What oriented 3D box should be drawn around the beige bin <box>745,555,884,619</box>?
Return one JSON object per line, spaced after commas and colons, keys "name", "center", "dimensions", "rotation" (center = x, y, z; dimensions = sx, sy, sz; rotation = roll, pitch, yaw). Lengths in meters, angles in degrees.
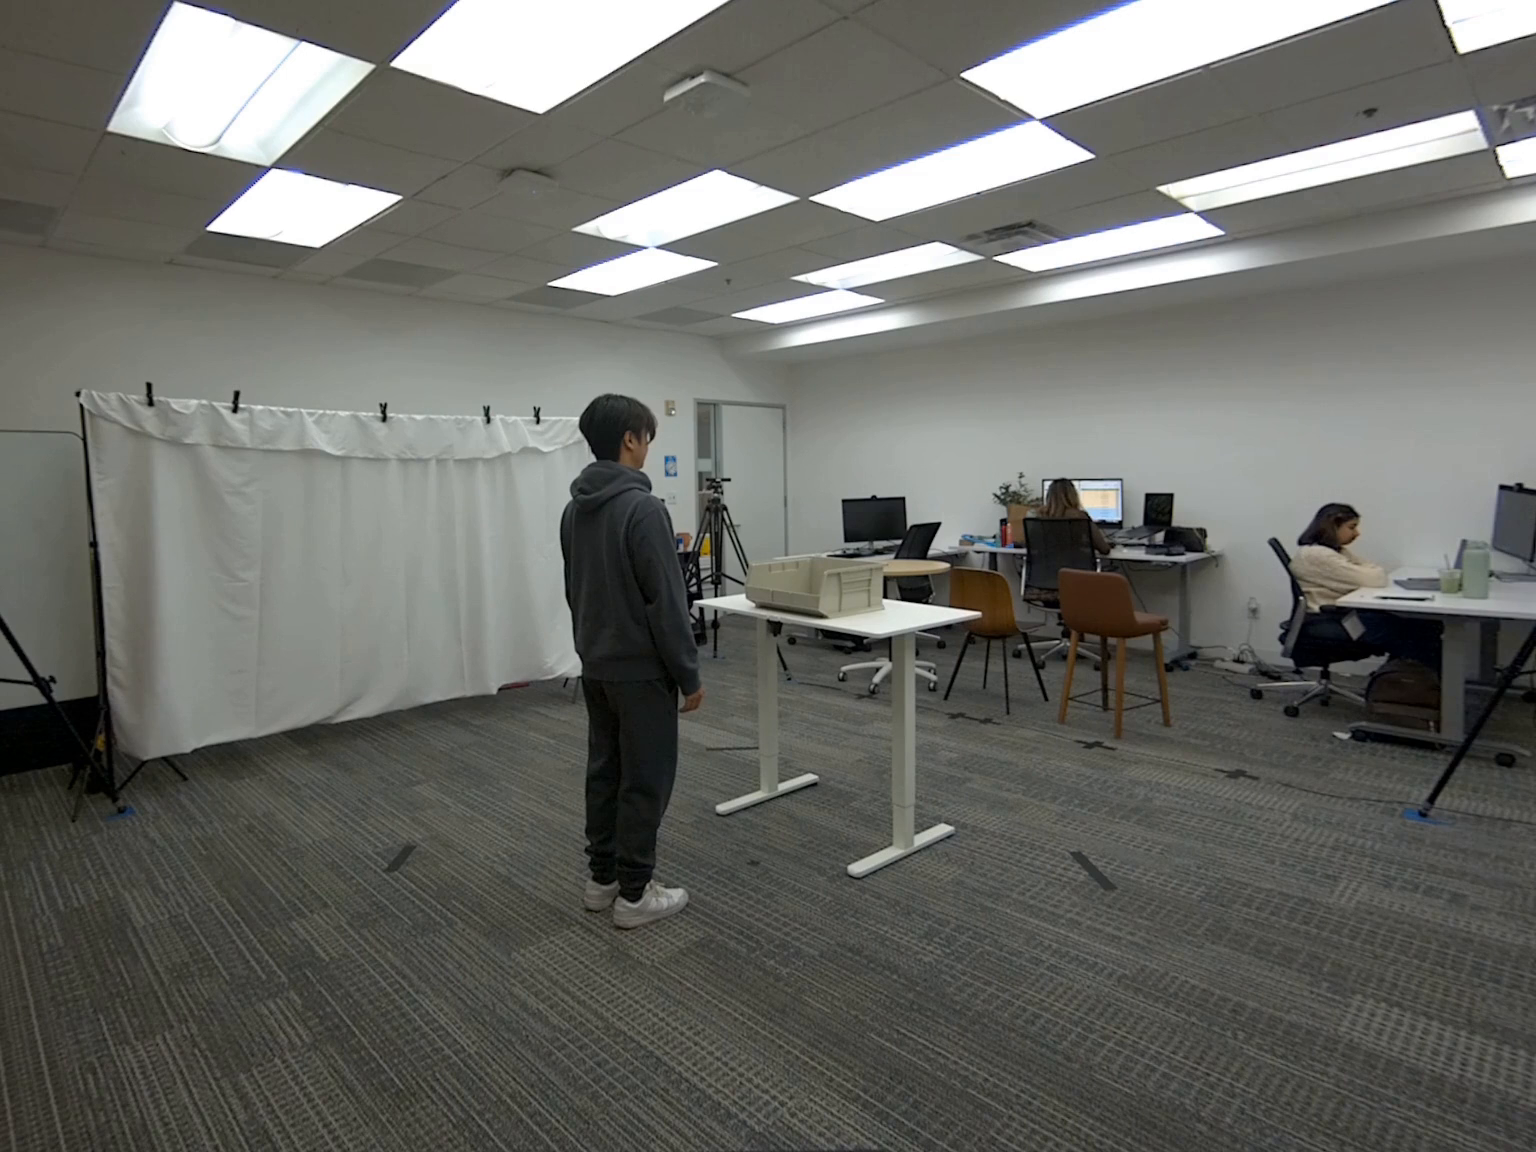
{"name": "beige bin", "center": [0.188, 0.041, 3.343], "dimensions": [0.367, 0.188, 0.435], "rotation": [-6, 8, -41]}
